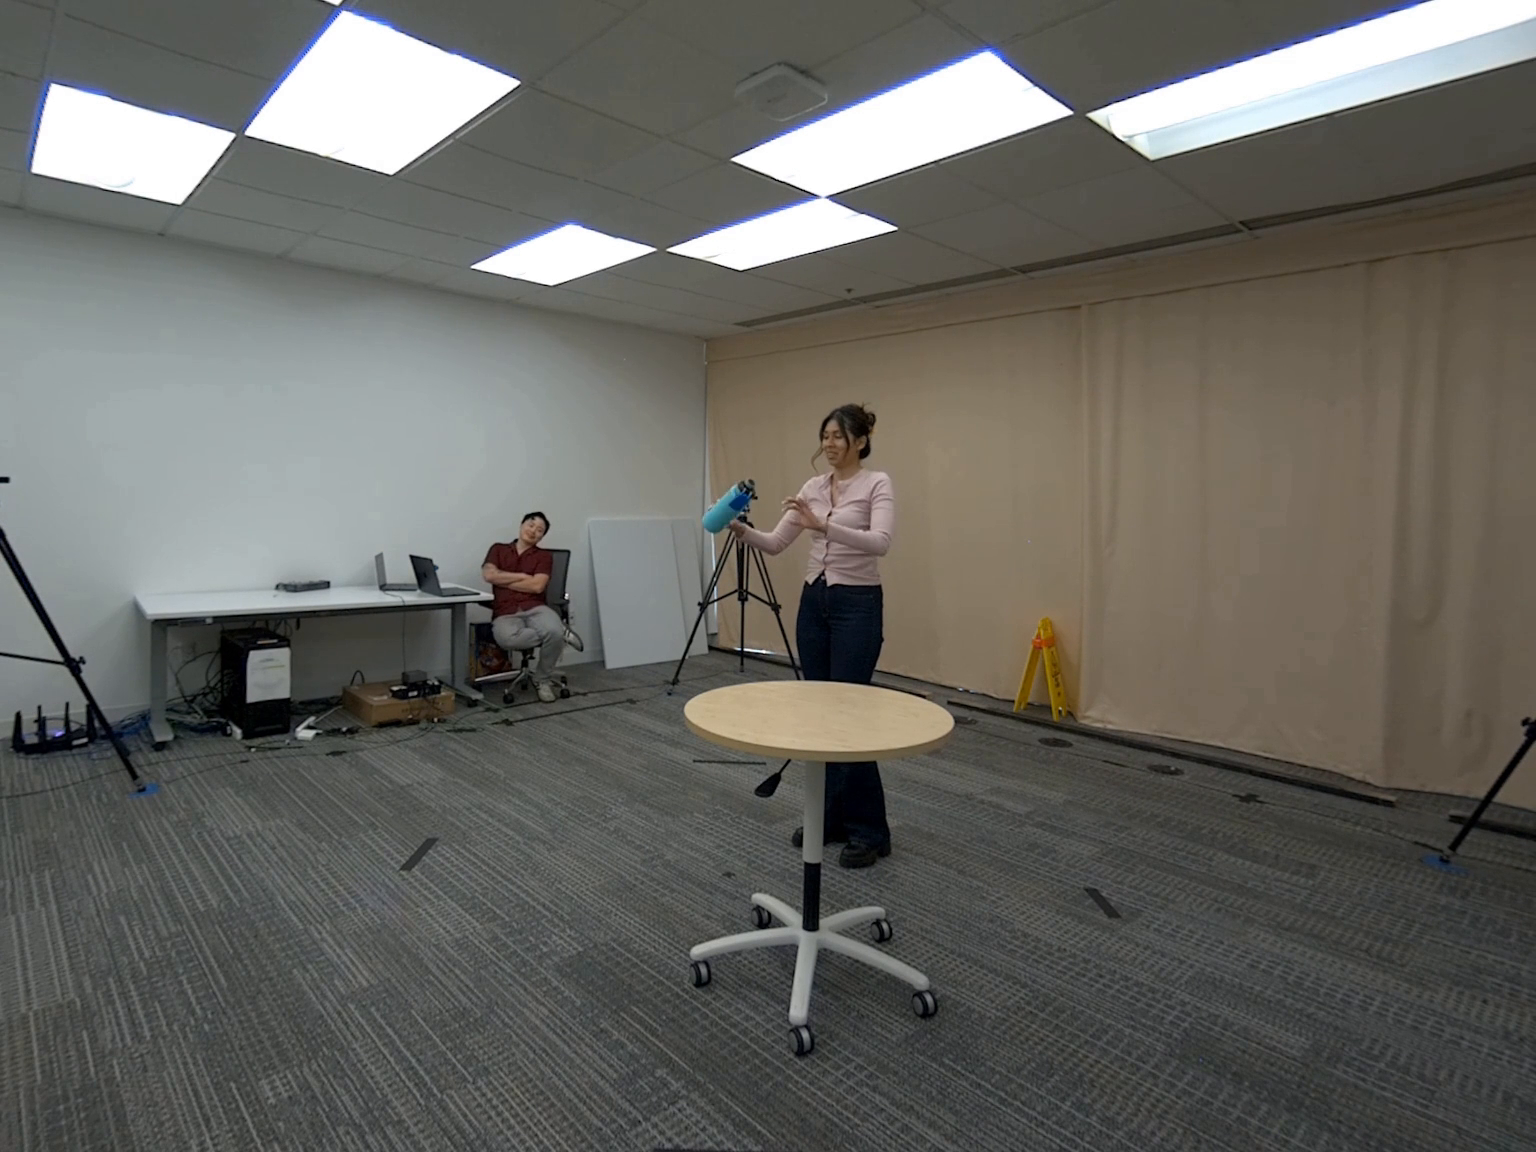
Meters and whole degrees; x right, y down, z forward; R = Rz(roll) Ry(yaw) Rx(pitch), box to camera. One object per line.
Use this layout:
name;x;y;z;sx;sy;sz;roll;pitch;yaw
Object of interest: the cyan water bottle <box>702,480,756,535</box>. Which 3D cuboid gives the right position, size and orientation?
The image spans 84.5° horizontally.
cyan water bottle;-0.143;-0.263;3.186;0.090;0.094;0.284;-1;-27;-37
